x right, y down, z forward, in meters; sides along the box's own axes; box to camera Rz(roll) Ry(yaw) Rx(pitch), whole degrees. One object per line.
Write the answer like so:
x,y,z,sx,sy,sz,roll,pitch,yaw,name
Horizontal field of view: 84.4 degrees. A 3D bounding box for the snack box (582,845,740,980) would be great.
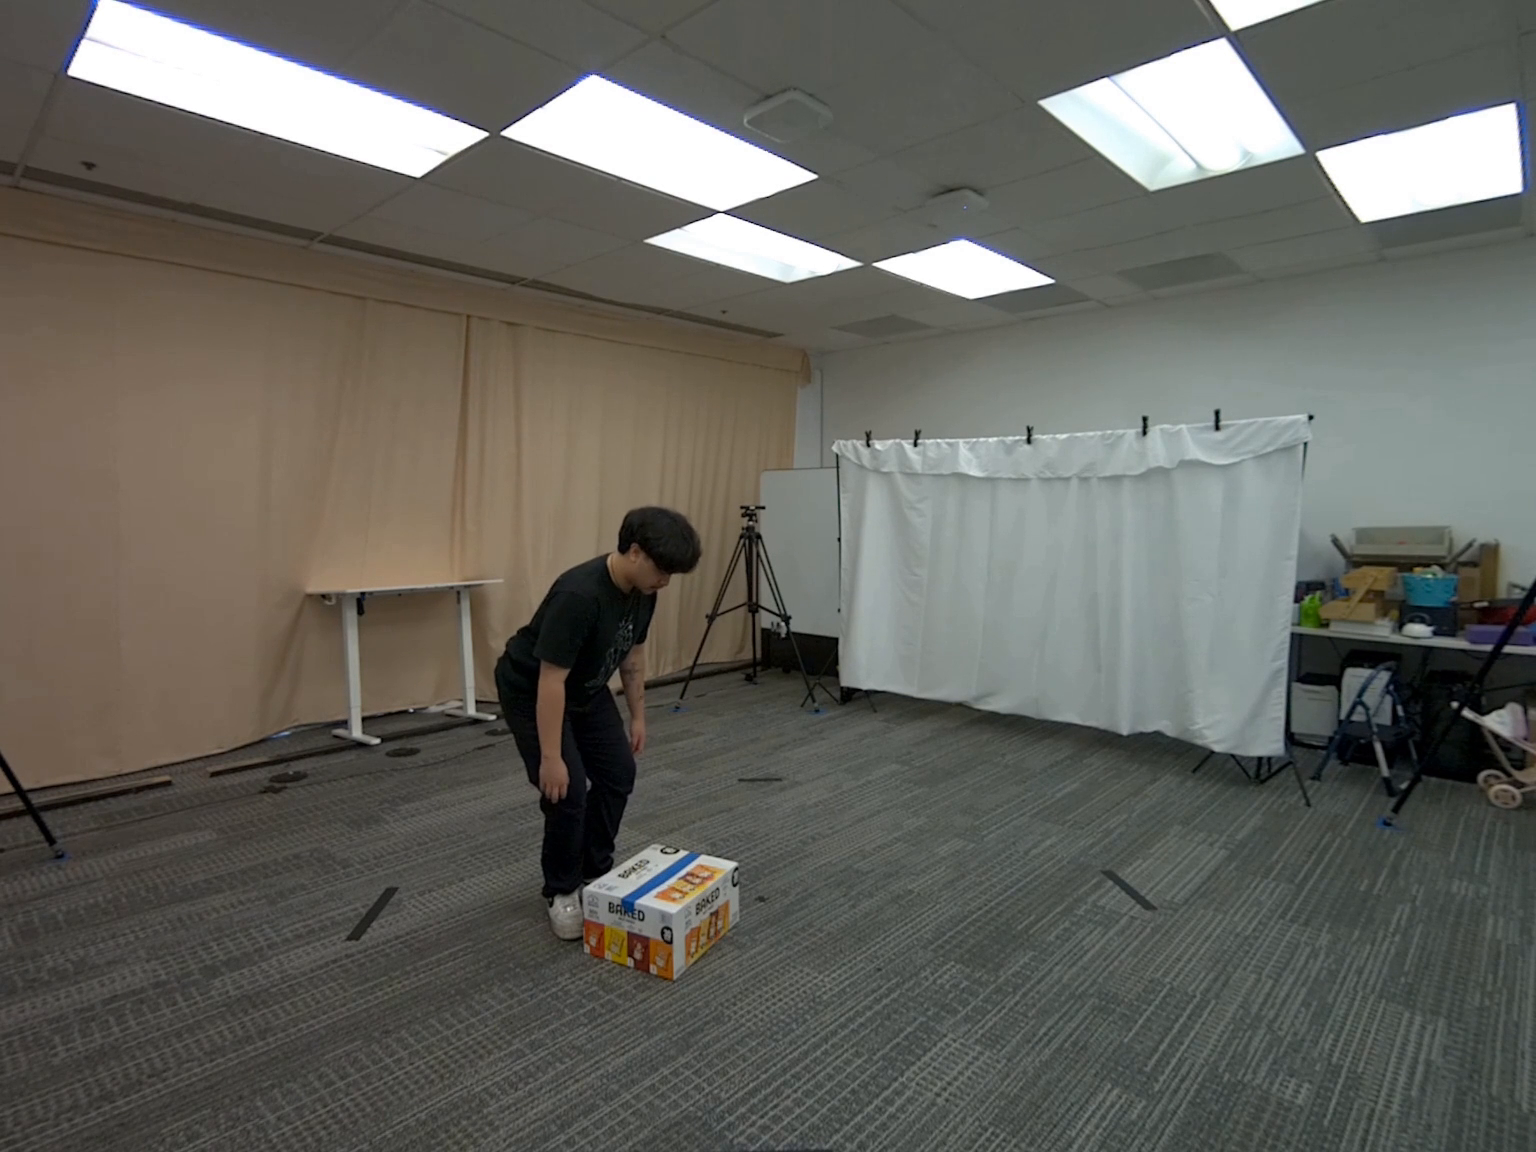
-0.335,1.066,2.713,0.350,0.205,0.395,2,5,28,snack box
